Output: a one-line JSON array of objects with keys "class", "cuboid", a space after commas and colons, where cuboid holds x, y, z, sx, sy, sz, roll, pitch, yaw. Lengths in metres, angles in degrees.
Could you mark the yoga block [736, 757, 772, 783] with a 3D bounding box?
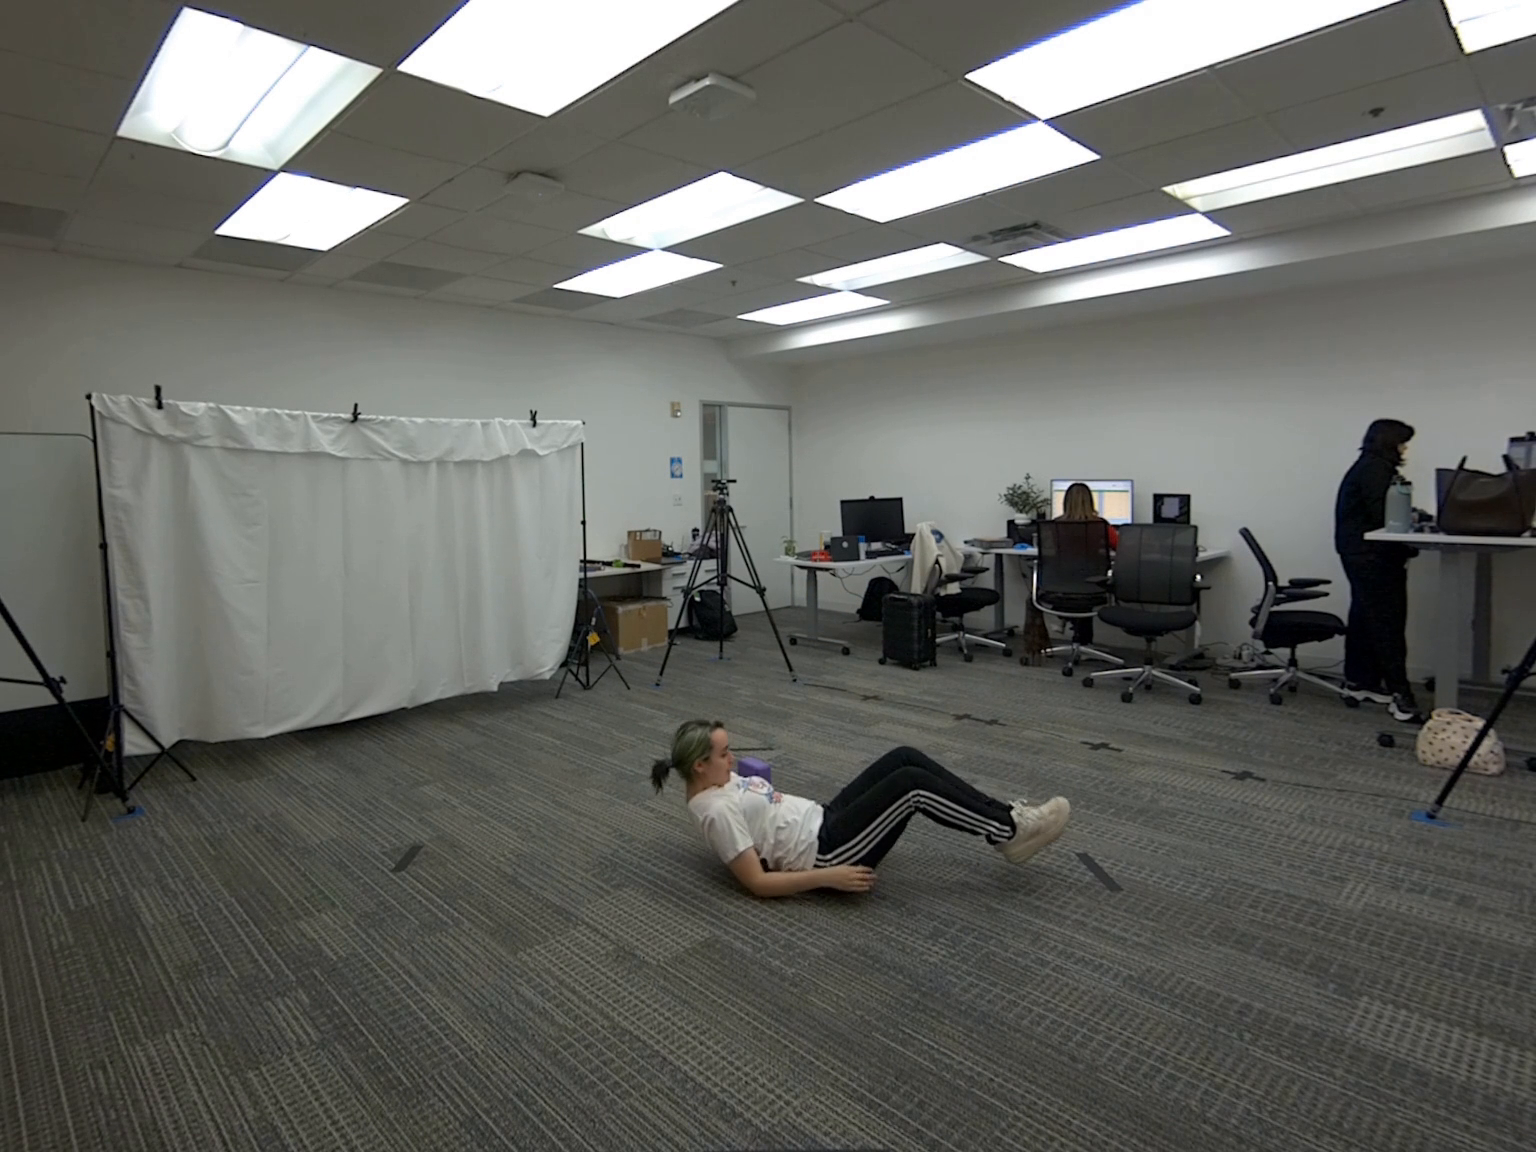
[{"class": "yoga block", "cuboid": [-0.053, 0.882, 3.543, 0.074, 0.228, 0.153, -5, 5, -37]}]
